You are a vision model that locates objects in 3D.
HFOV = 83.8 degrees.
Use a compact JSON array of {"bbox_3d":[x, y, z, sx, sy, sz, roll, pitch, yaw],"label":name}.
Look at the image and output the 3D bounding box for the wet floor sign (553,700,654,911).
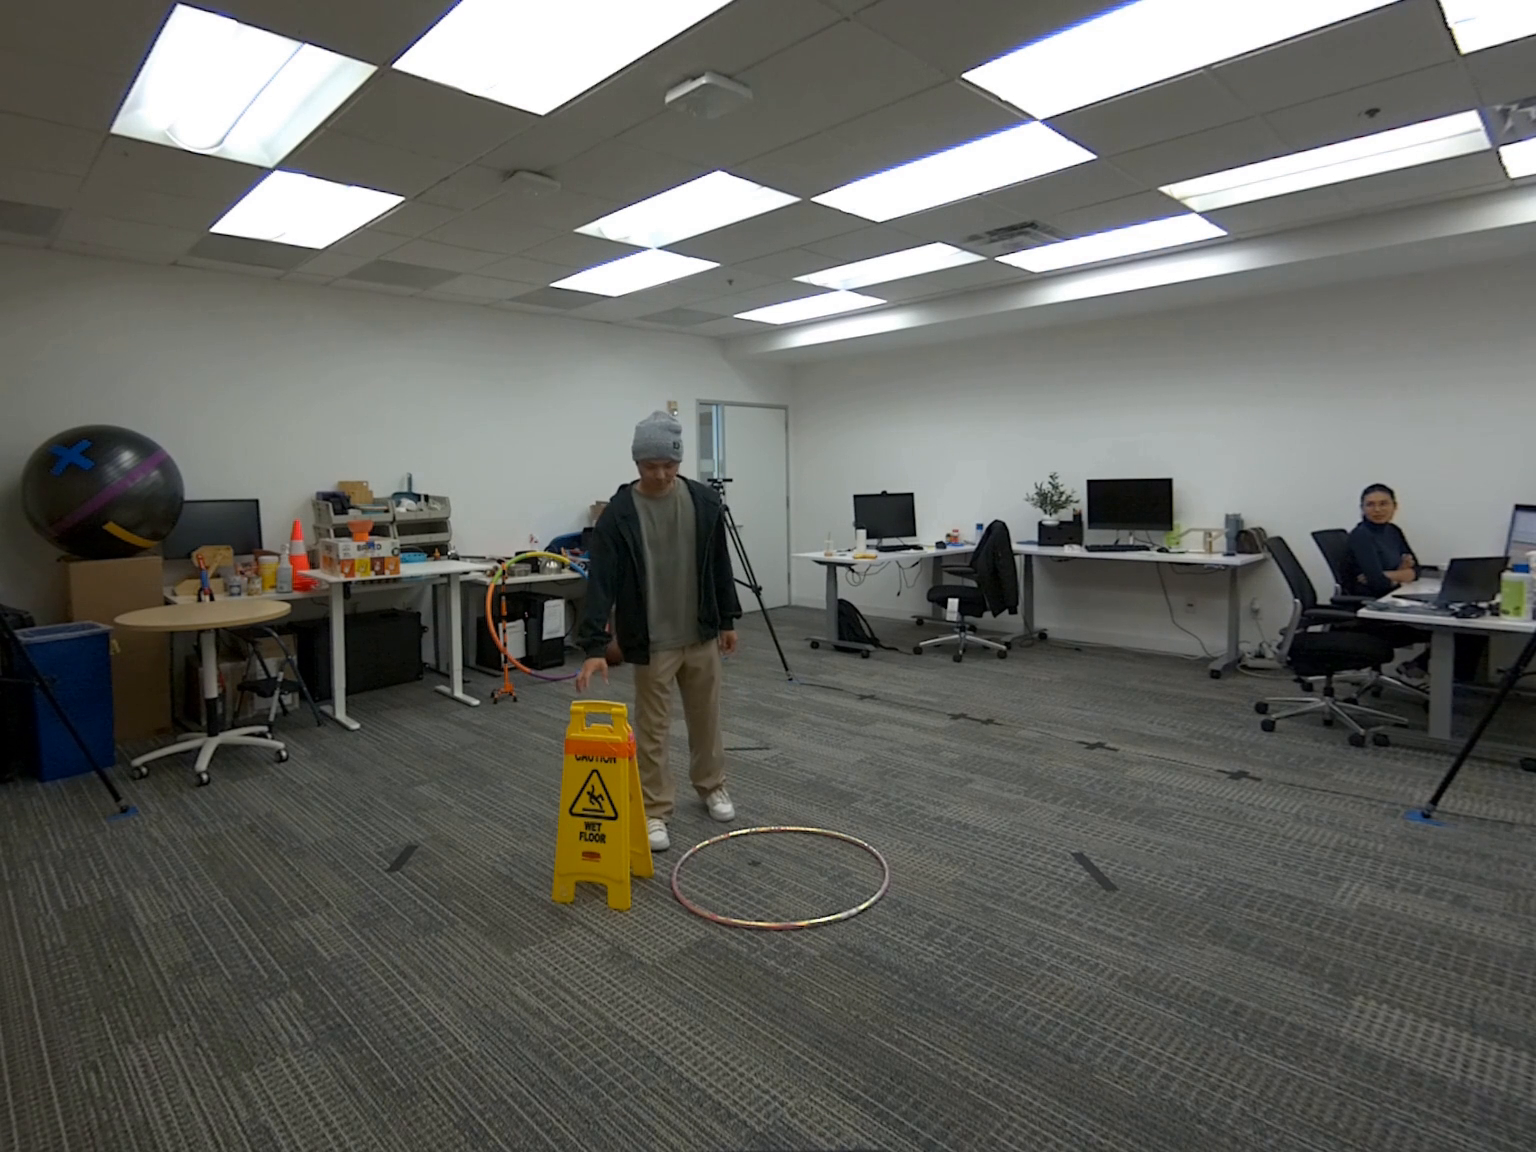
[{"bbox_3d":[-0.564,0.754,2.915,0.286,0.644,0.287,1,4,12],"label":"wet floor sign"}]
